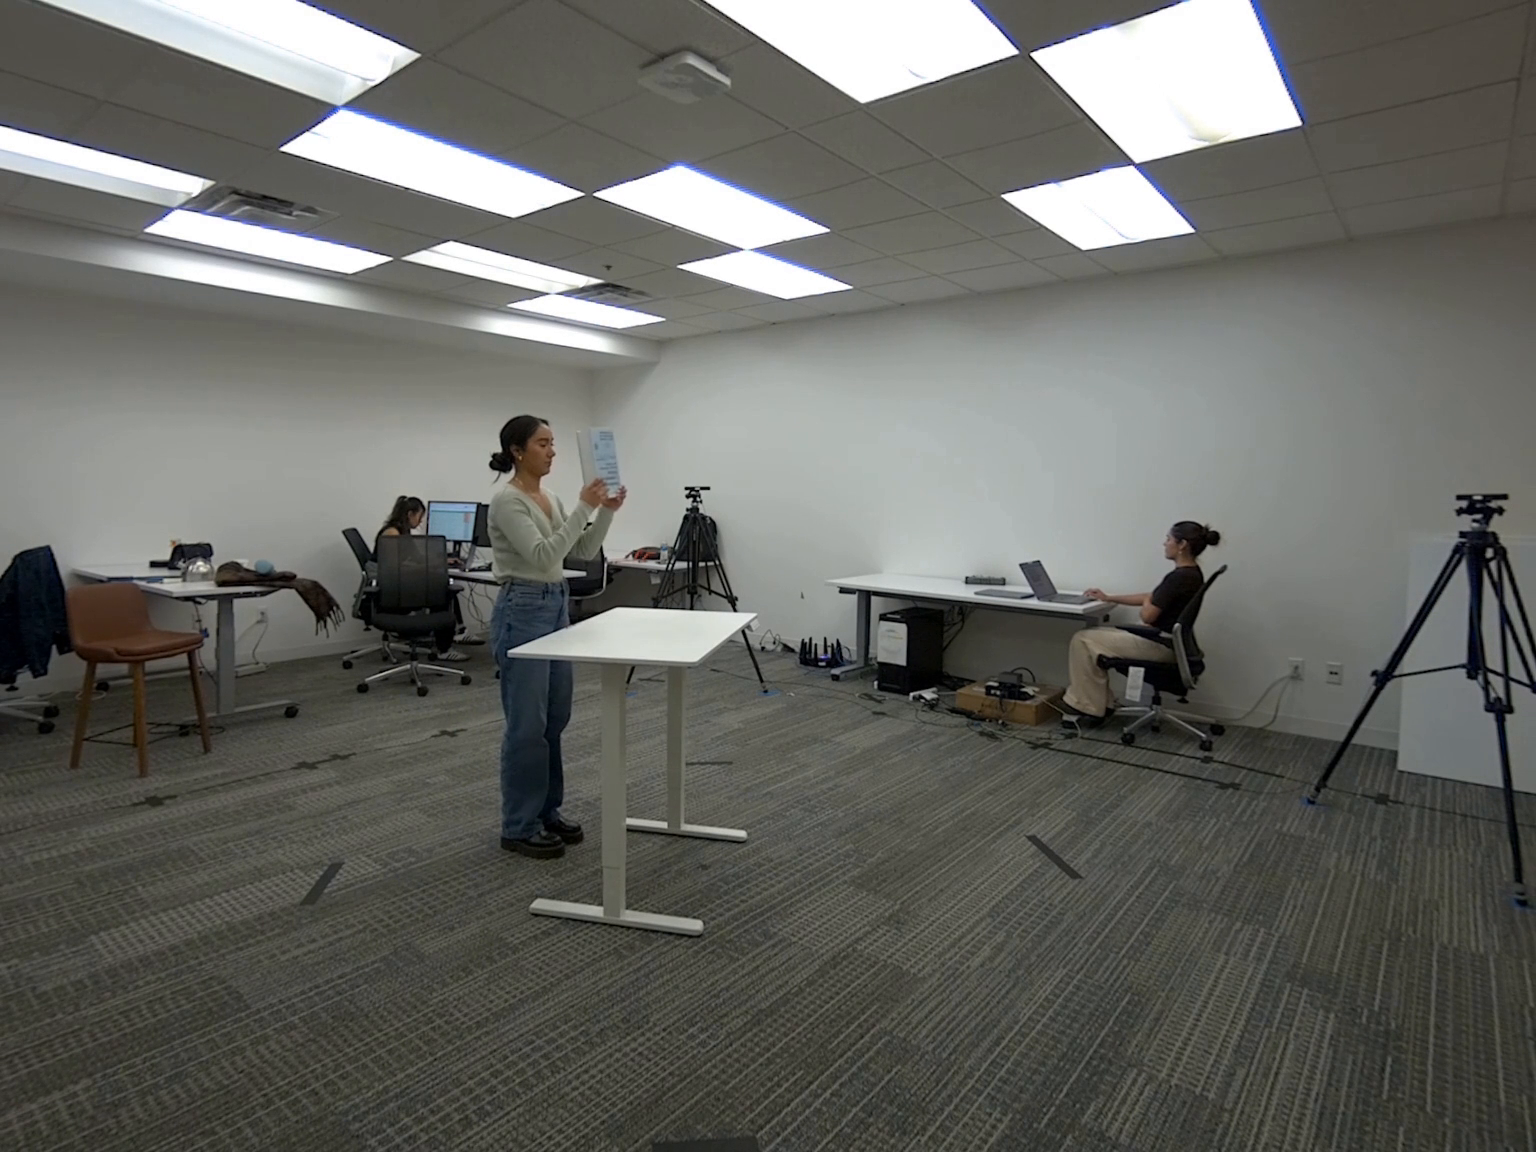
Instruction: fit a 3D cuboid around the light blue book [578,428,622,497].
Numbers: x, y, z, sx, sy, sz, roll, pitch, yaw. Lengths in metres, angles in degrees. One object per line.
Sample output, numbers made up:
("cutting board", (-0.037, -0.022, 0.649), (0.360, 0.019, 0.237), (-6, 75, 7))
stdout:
("light blue book", (-0.643, -0.417, 3.184), (0.060, 0.259, 0.189), (-5, 7, 20))
